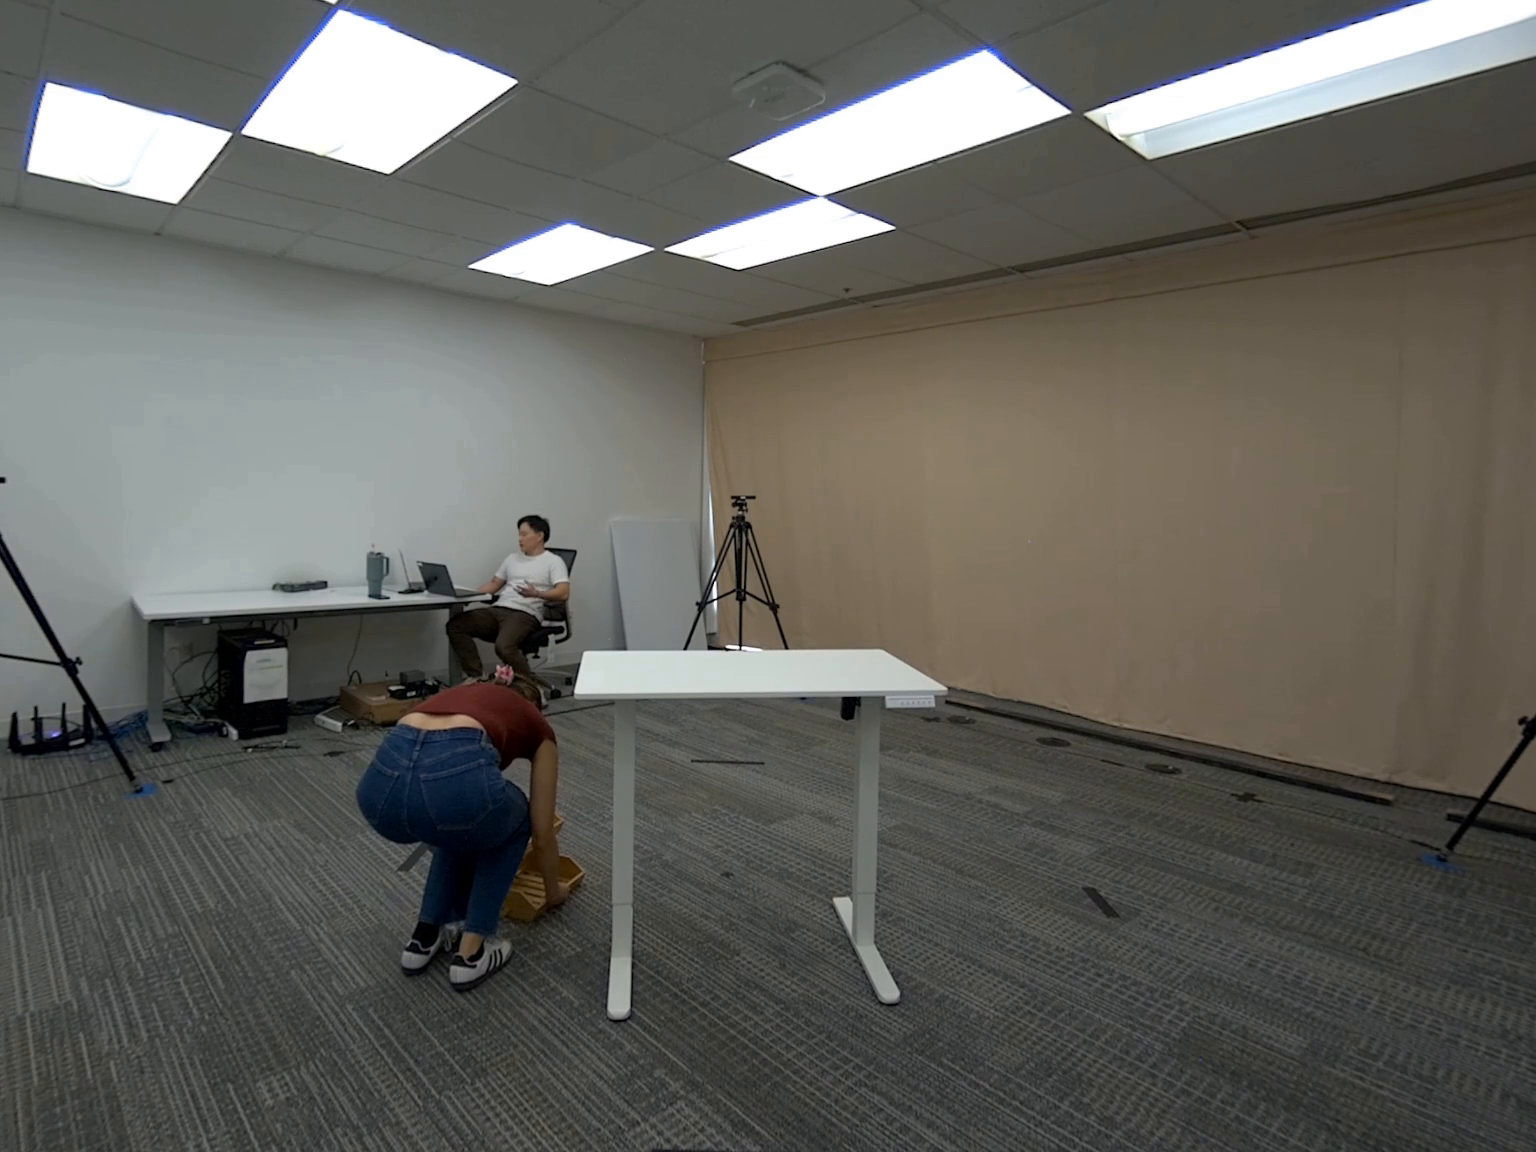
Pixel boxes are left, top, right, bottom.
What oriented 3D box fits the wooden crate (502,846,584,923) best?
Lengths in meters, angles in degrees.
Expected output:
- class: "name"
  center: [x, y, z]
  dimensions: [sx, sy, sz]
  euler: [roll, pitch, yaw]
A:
- class: "wooden crate"
  center: [-0.842, 0.977, 2.906]
  dimensions: [0.307, 0.272, 0.320]
  euler: [3, 6, 19]
